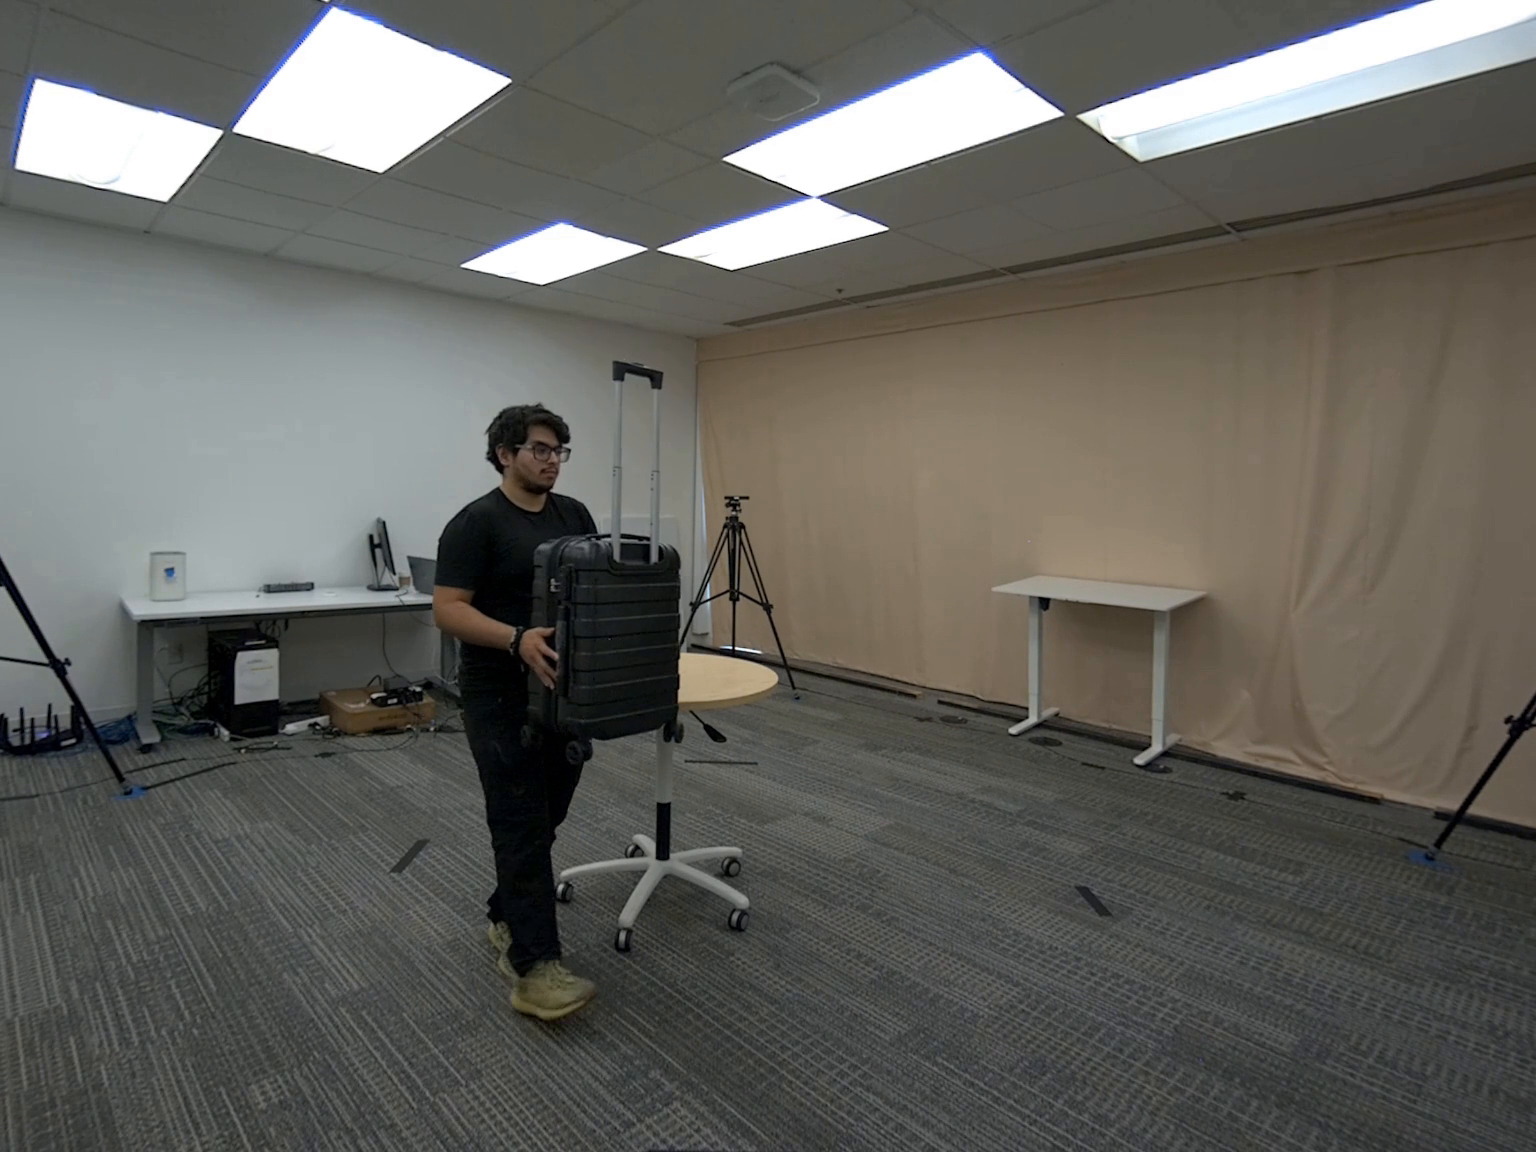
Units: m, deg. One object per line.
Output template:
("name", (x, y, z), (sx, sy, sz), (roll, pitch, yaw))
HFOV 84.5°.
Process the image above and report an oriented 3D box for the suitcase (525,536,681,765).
("suitcase", (-0.435, -0.049, 2.187), (0.263, 0.979, 0.375), (0, -1, 43))
